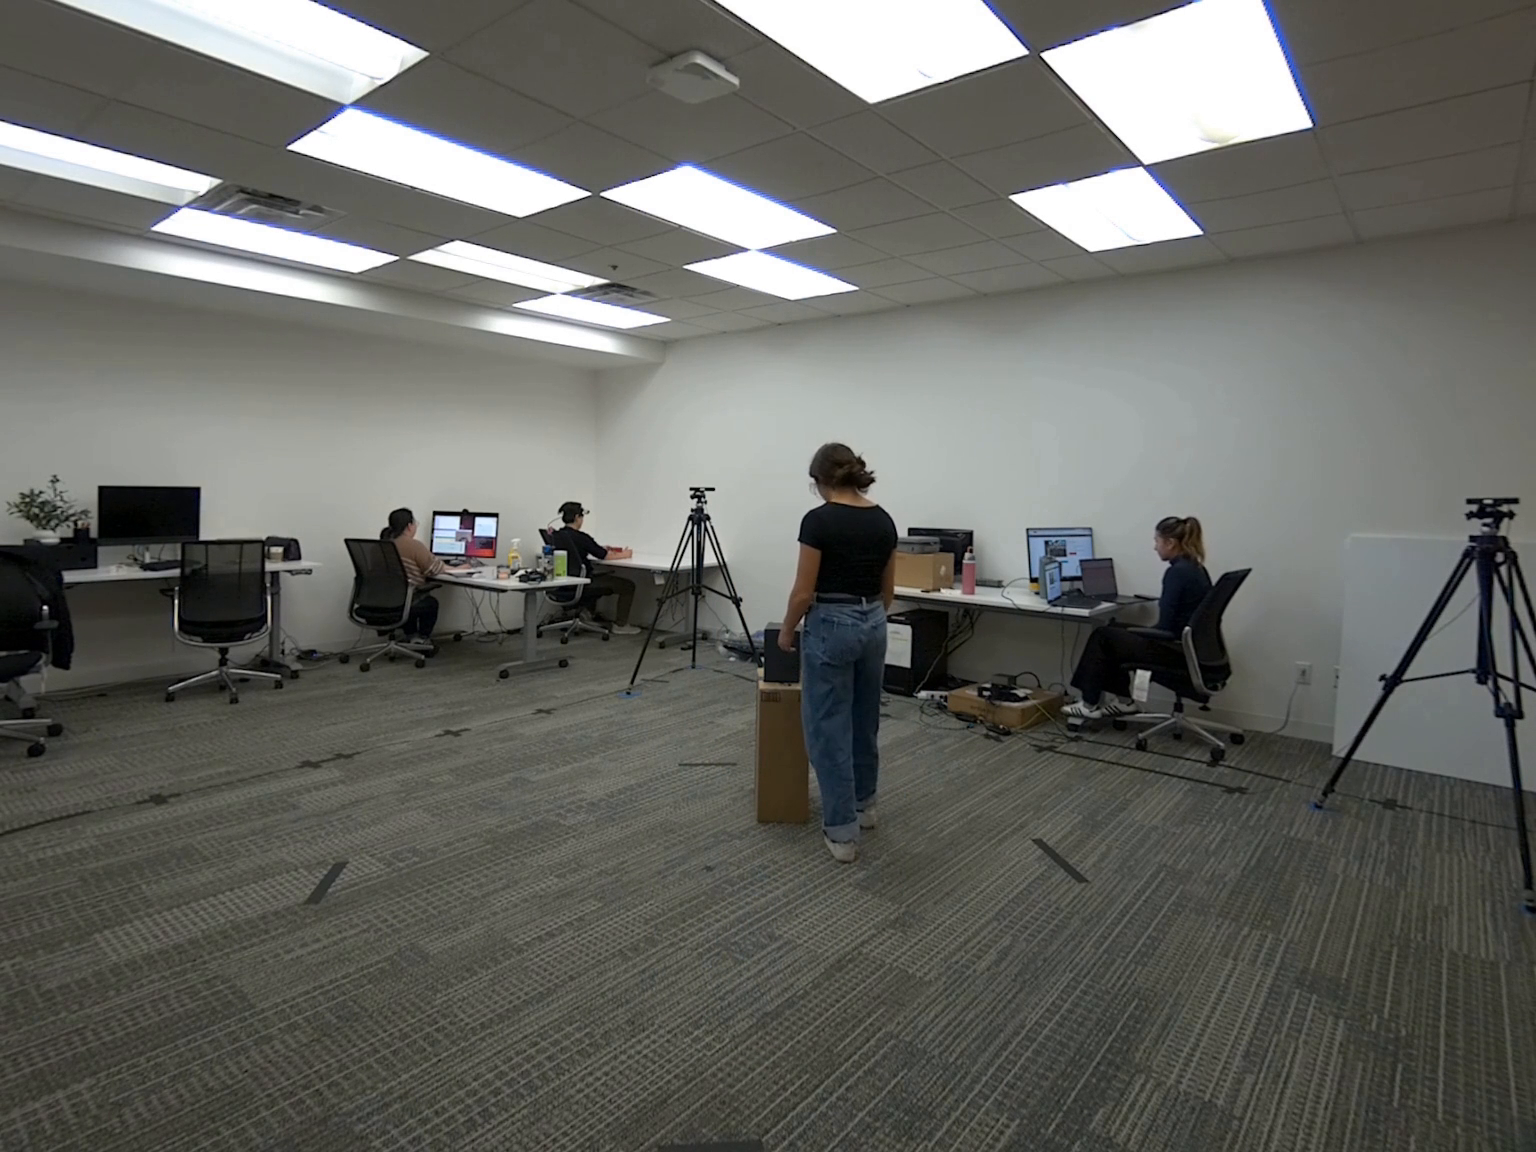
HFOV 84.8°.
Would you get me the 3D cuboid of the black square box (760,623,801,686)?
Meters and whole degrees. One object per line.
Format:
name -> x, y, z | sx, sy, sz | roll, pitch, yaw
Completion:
black square box -> 0.051, 0.321, 3.740 | 0.157, 0.227, 0.217 | 2, 7, 4
